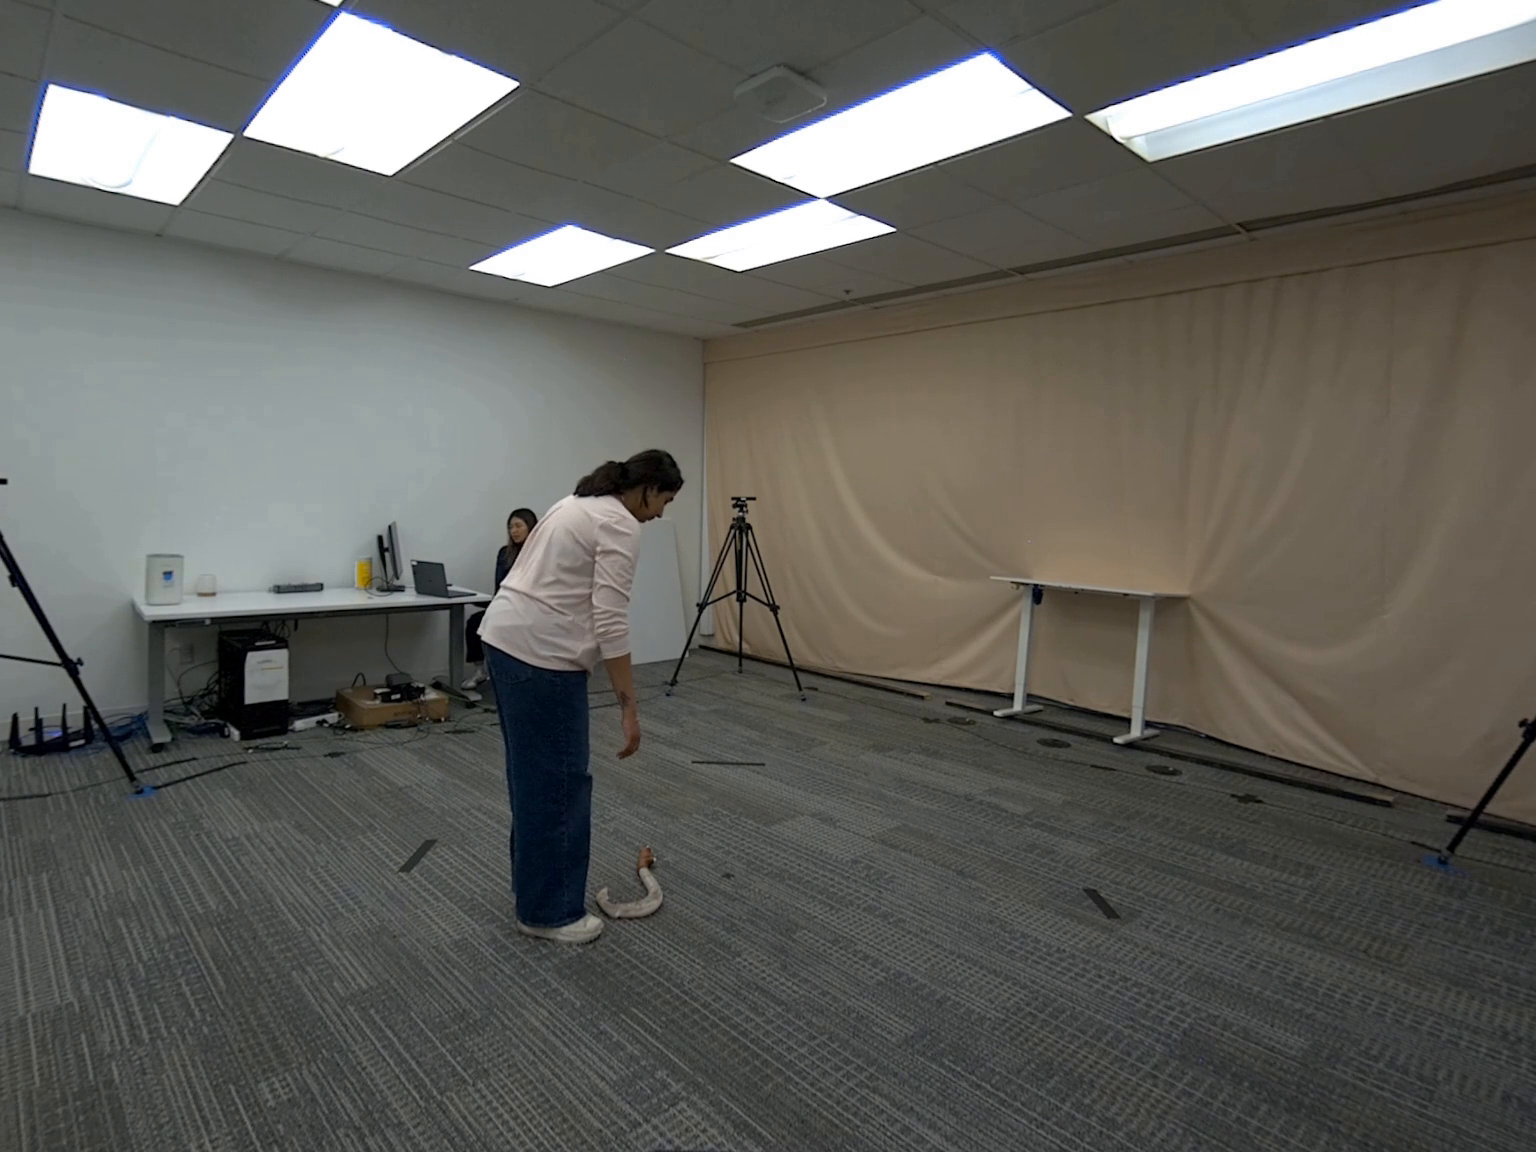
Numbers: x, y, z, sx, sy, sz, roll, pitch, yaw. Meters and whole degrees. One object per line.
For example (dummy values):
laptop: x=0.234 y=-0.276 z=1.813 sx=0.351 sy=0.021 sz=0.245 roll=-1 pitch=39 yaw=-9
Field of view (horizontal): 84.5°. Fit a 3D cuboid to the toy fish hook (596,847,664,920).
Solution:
toy fish hook: x=-0.497 y=1.087 z=3.010 sx=0.223 sy=0.048 sz=0.511 roll=2 pitch=5 yaw=-9
